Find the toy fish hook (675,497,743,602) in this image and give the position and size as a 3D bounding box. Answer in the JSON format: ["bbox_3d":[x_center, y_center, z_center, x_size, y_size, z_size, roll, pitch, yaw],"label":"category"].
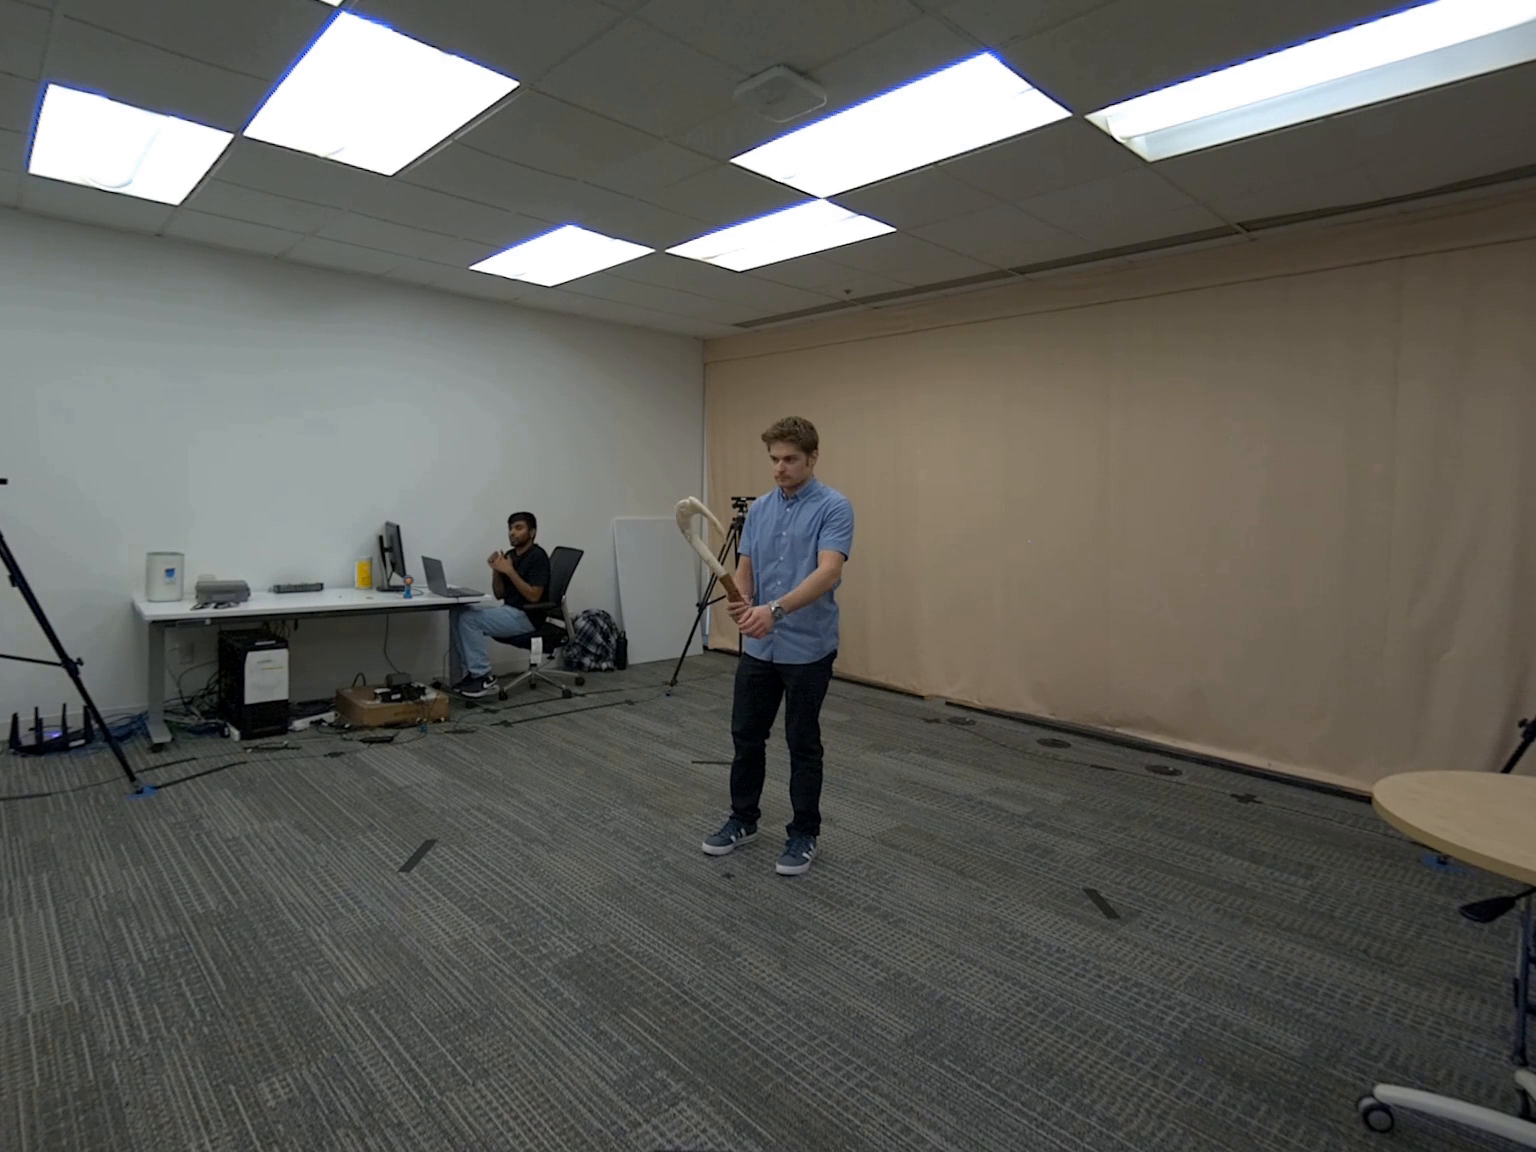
[{"bbox_3d":[-0.168,-0.042,2.959,0.048,0.501,0.228,-37,12,-29],"label":"toy fish hook"}]
